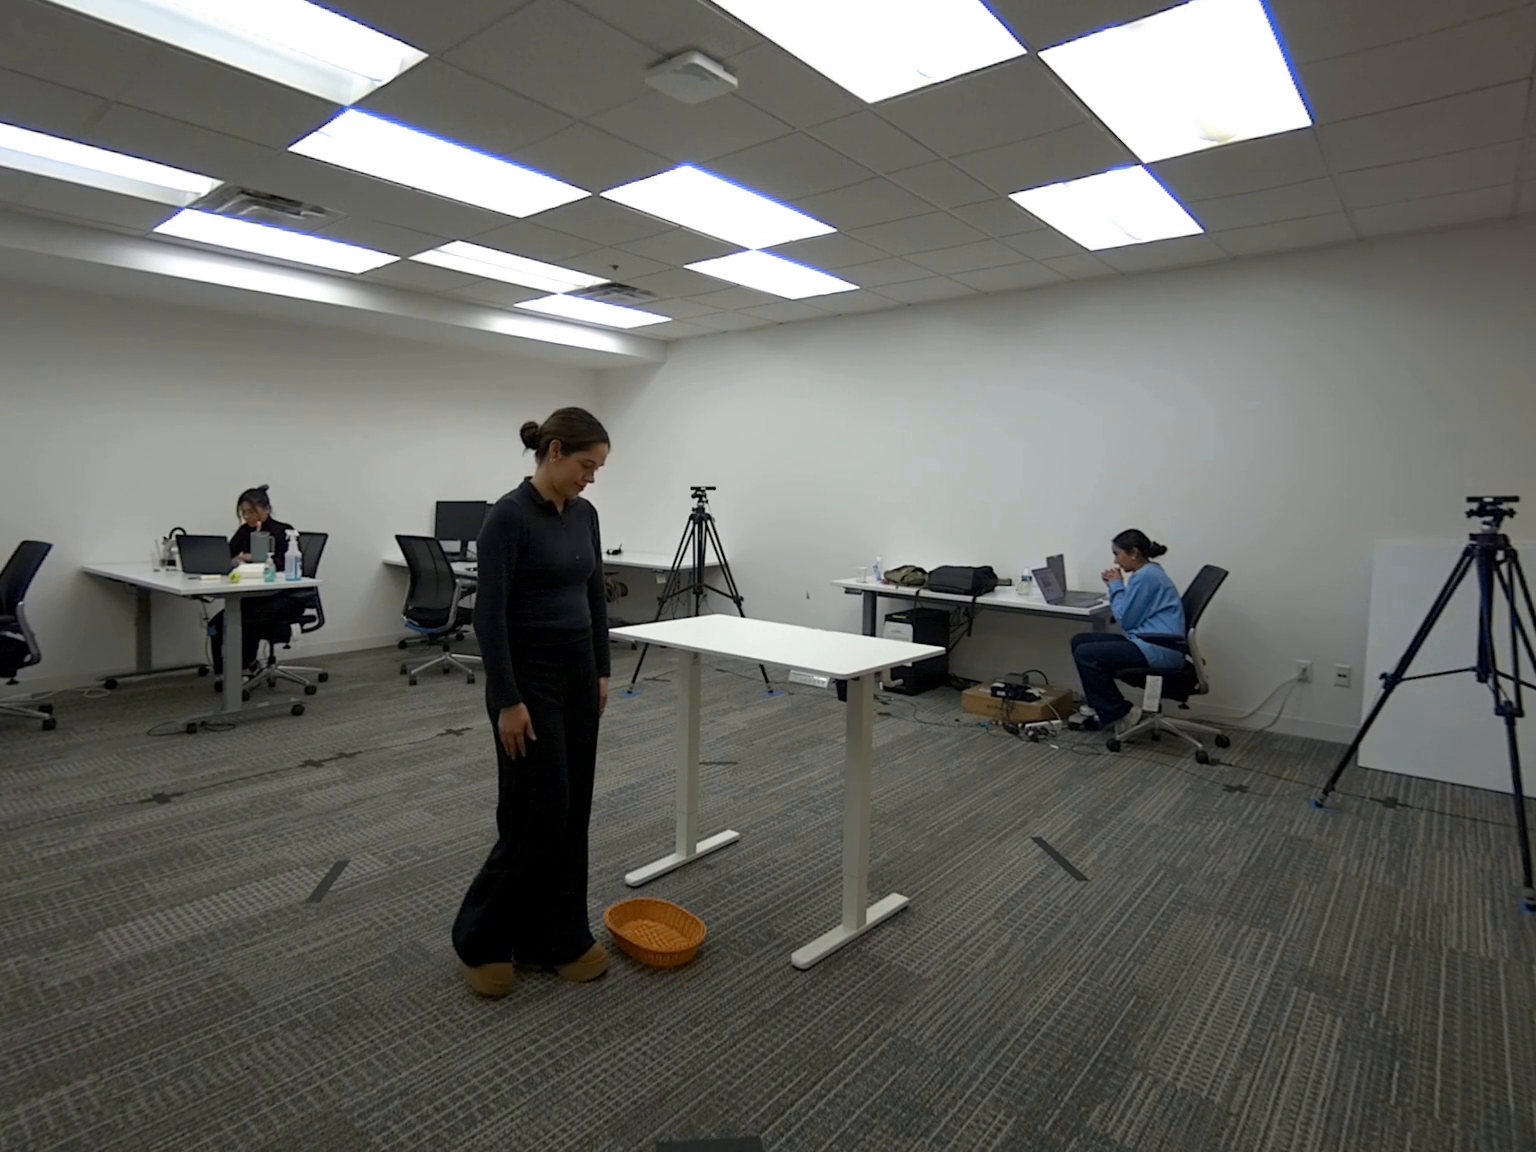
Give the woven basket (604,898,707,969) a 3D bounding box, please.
[{"bbox_3d":[-0.351,1.072,2.570,0.362,0.073,0.245,6,7,43],"label":"woven basket"}]
